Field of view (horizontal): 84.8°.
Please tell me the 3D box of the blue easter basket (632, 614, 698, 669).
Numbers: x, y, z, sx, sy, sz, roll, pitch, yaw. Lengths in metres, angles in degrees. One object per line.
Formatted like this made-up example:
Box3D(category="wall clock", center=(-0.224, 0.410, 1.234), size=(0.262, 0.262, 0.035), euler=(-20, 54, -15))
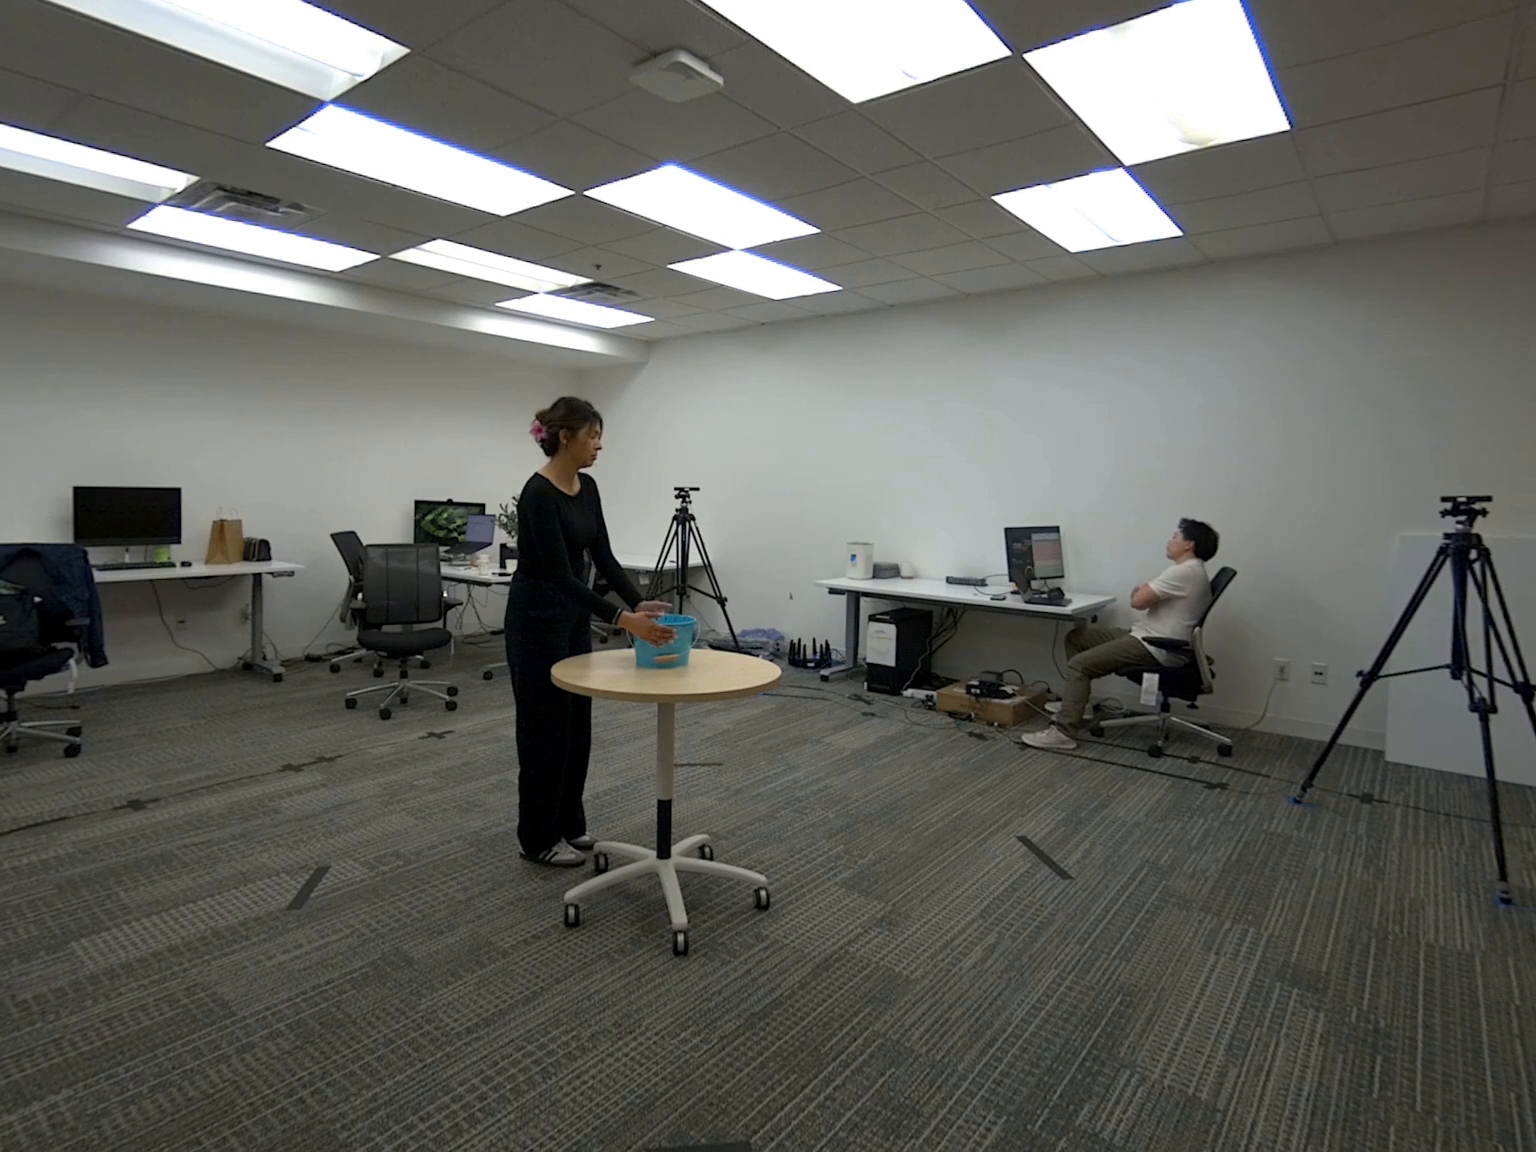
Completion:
Box3D(category="blue easter basket", center=(-0.380, 0.222, 2.927), size=(0.243, 0.155, 0.244), euler=(0, 4, -2))
